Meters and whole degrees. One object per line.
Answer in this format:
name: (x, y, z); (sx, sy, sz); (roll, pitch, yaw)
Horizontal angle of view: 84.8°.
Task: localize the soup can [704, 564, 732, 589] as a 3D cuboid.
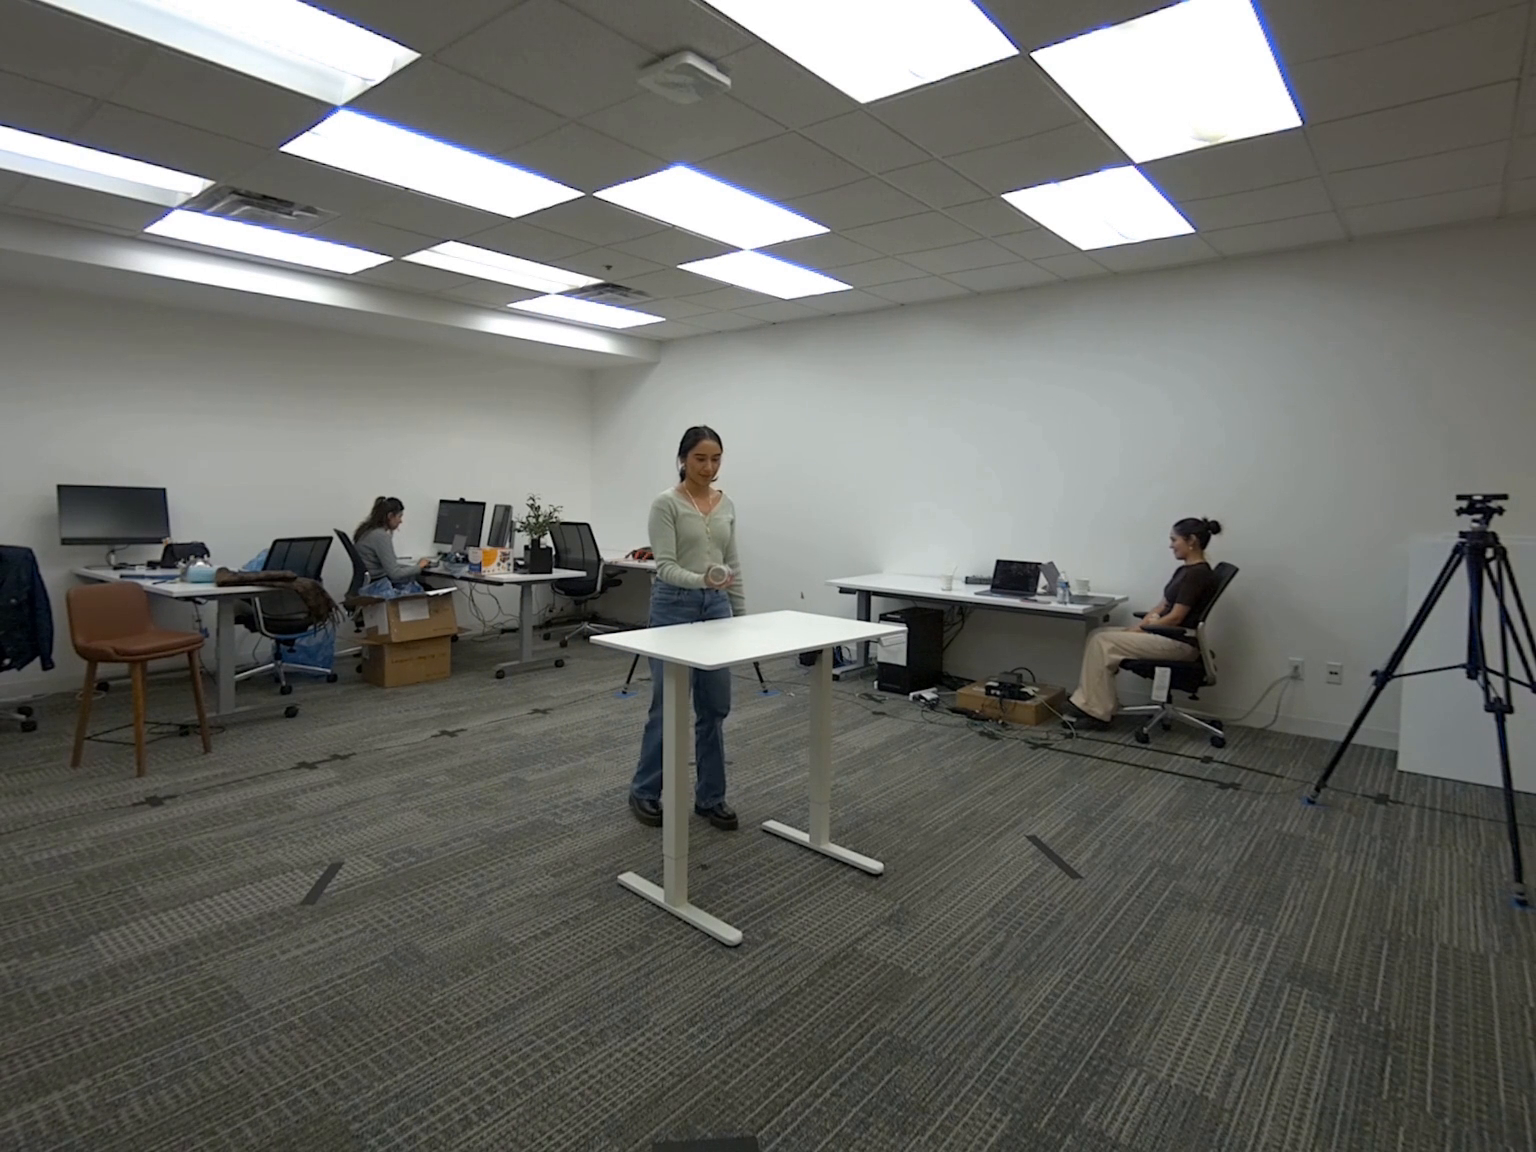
soup can: (-0.191, -0.015, 3.171); (0.067, 0.067, 0.121); (1, 7, 4)
